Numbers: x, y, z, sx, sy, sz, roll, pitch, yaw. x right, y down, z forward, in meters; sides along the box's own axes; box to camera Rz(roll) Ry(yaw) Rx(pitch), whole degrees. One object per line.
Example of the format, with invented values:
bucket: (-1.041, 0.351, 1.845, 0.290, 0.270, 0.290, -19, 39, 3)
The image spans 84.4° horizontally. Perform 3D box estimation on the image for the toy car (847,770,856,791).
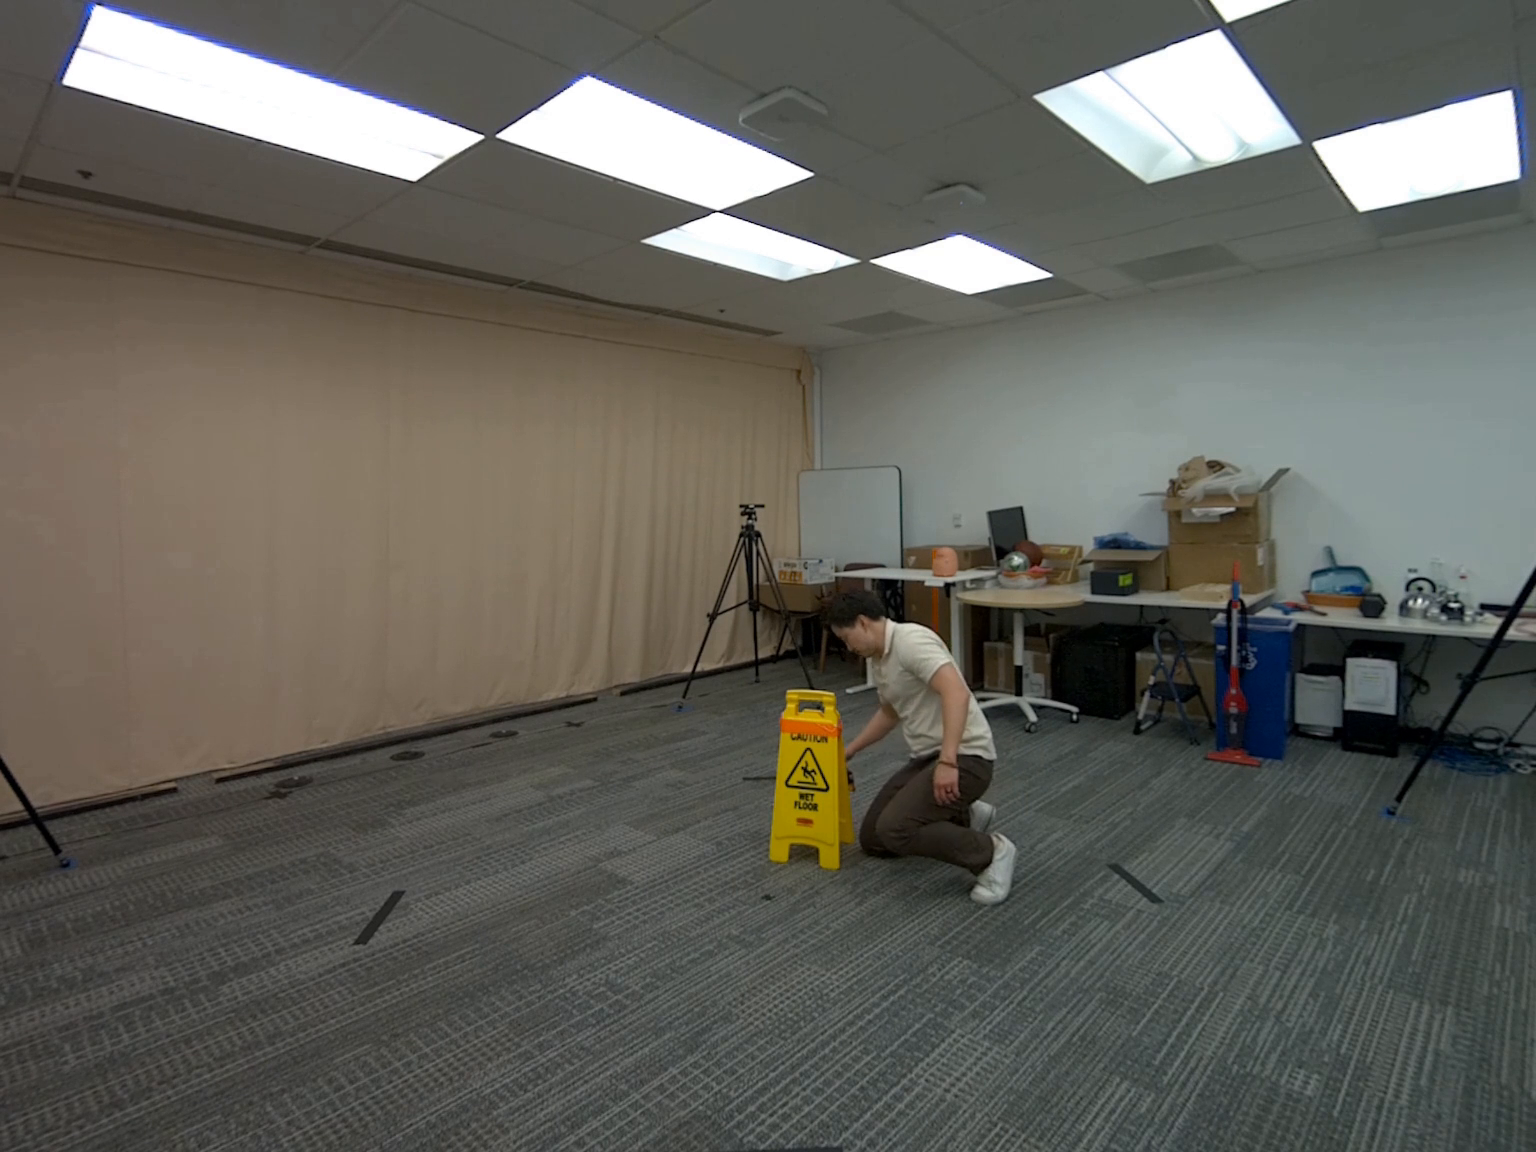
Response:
toy car: (0.276, 0.806, 3.482, 0.132, 0.251, 0.083, -23, 12, 22)
